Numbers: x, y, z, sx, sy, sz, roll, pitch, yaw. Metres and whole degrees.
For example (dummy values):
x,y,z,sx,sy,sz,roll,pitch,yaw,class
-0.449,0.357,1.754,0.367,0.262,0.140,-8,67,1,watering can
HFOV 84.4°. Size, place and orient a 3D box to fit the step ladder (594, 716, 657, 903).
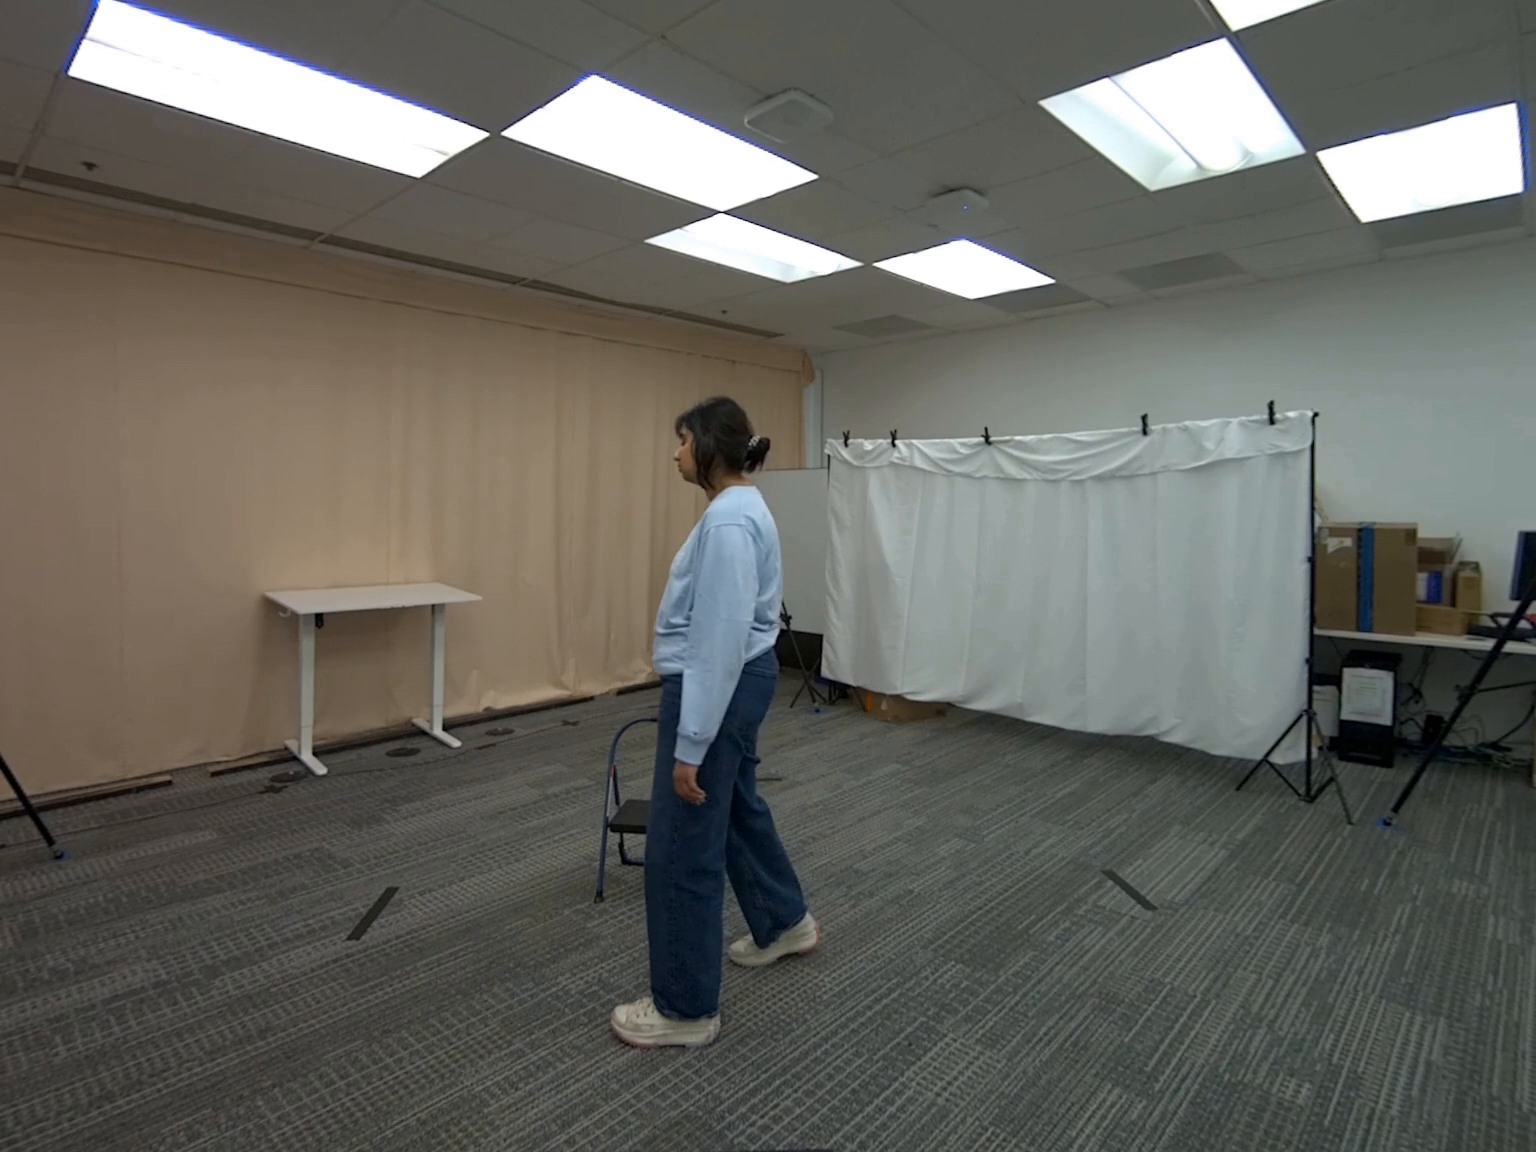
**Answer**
x,y,z,sx,sy,sz,roll,pitch,yaw,class
-0.390,0.835,3.089,0.435,0.605,0.346,0,3,9,step ladder
